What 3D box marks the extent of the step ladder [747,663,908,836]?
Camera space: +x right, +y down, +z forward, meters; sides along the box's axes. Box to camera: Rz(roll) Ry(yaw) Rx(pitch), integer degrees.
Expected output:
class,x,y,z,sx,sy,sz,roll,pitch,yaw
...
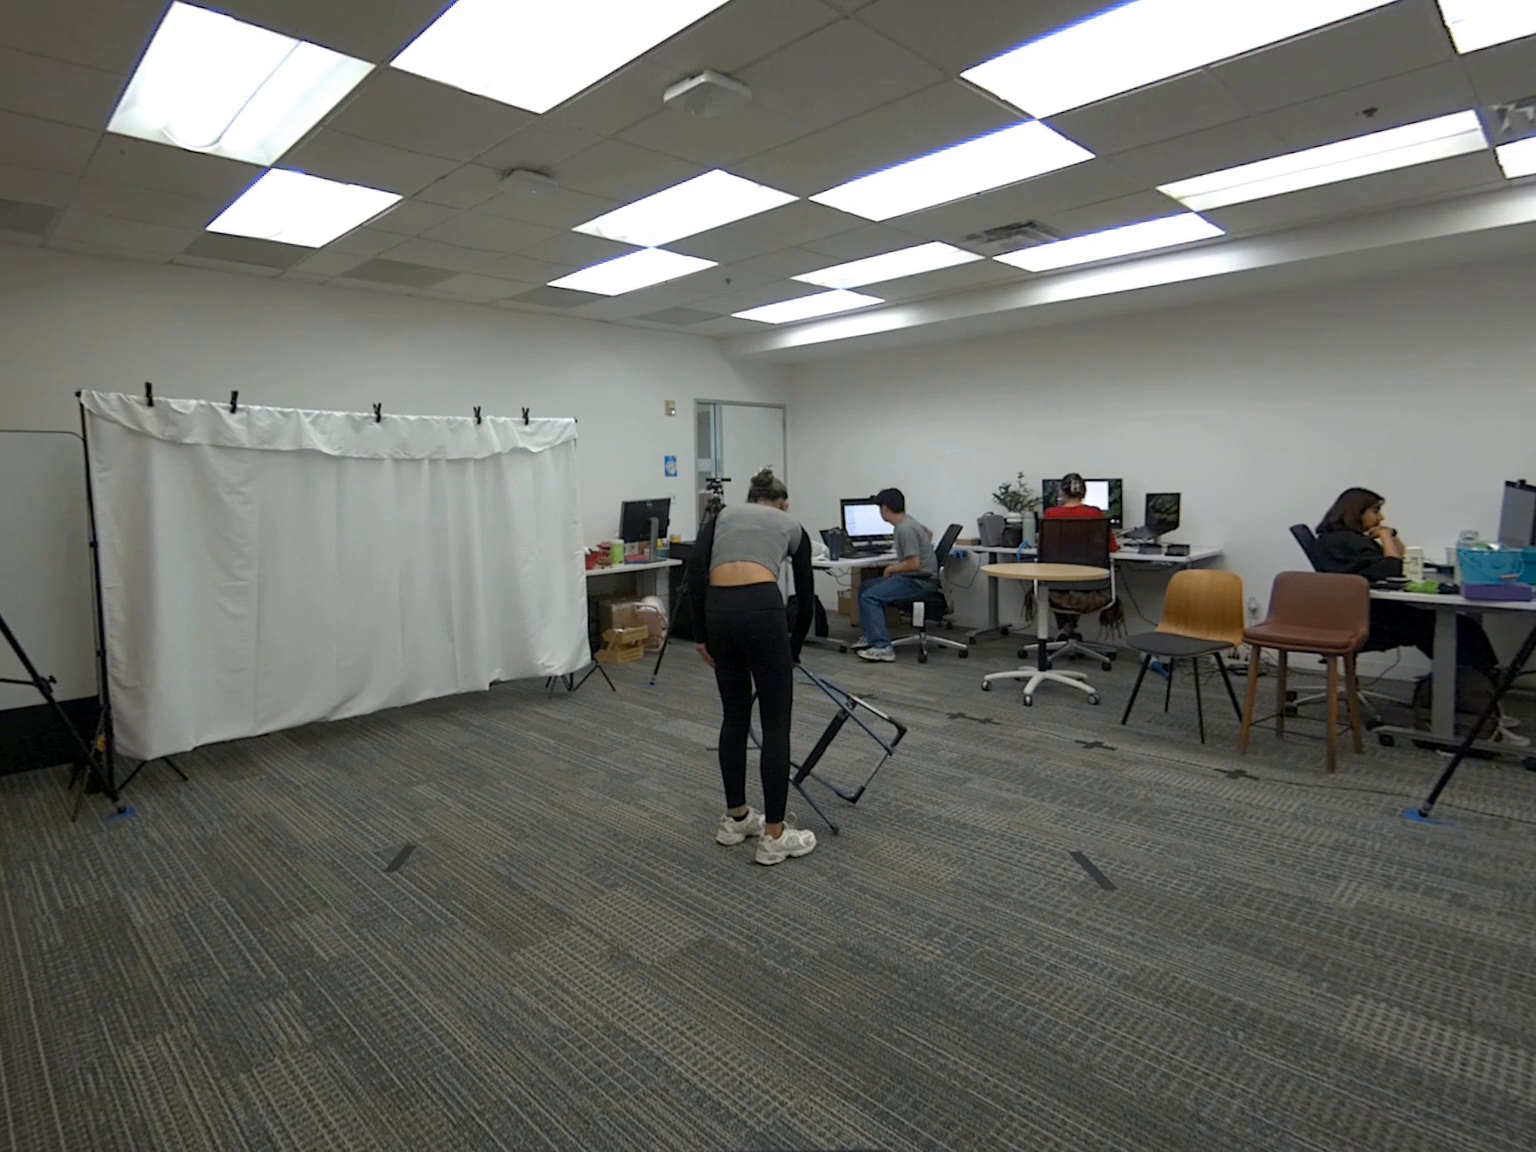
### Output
class,x,y,z,sx,sy,sz,roll,pitch,yaw
step ladder,0.191,0.647,3.521,0.619,0.429,0.343,35,14,16
